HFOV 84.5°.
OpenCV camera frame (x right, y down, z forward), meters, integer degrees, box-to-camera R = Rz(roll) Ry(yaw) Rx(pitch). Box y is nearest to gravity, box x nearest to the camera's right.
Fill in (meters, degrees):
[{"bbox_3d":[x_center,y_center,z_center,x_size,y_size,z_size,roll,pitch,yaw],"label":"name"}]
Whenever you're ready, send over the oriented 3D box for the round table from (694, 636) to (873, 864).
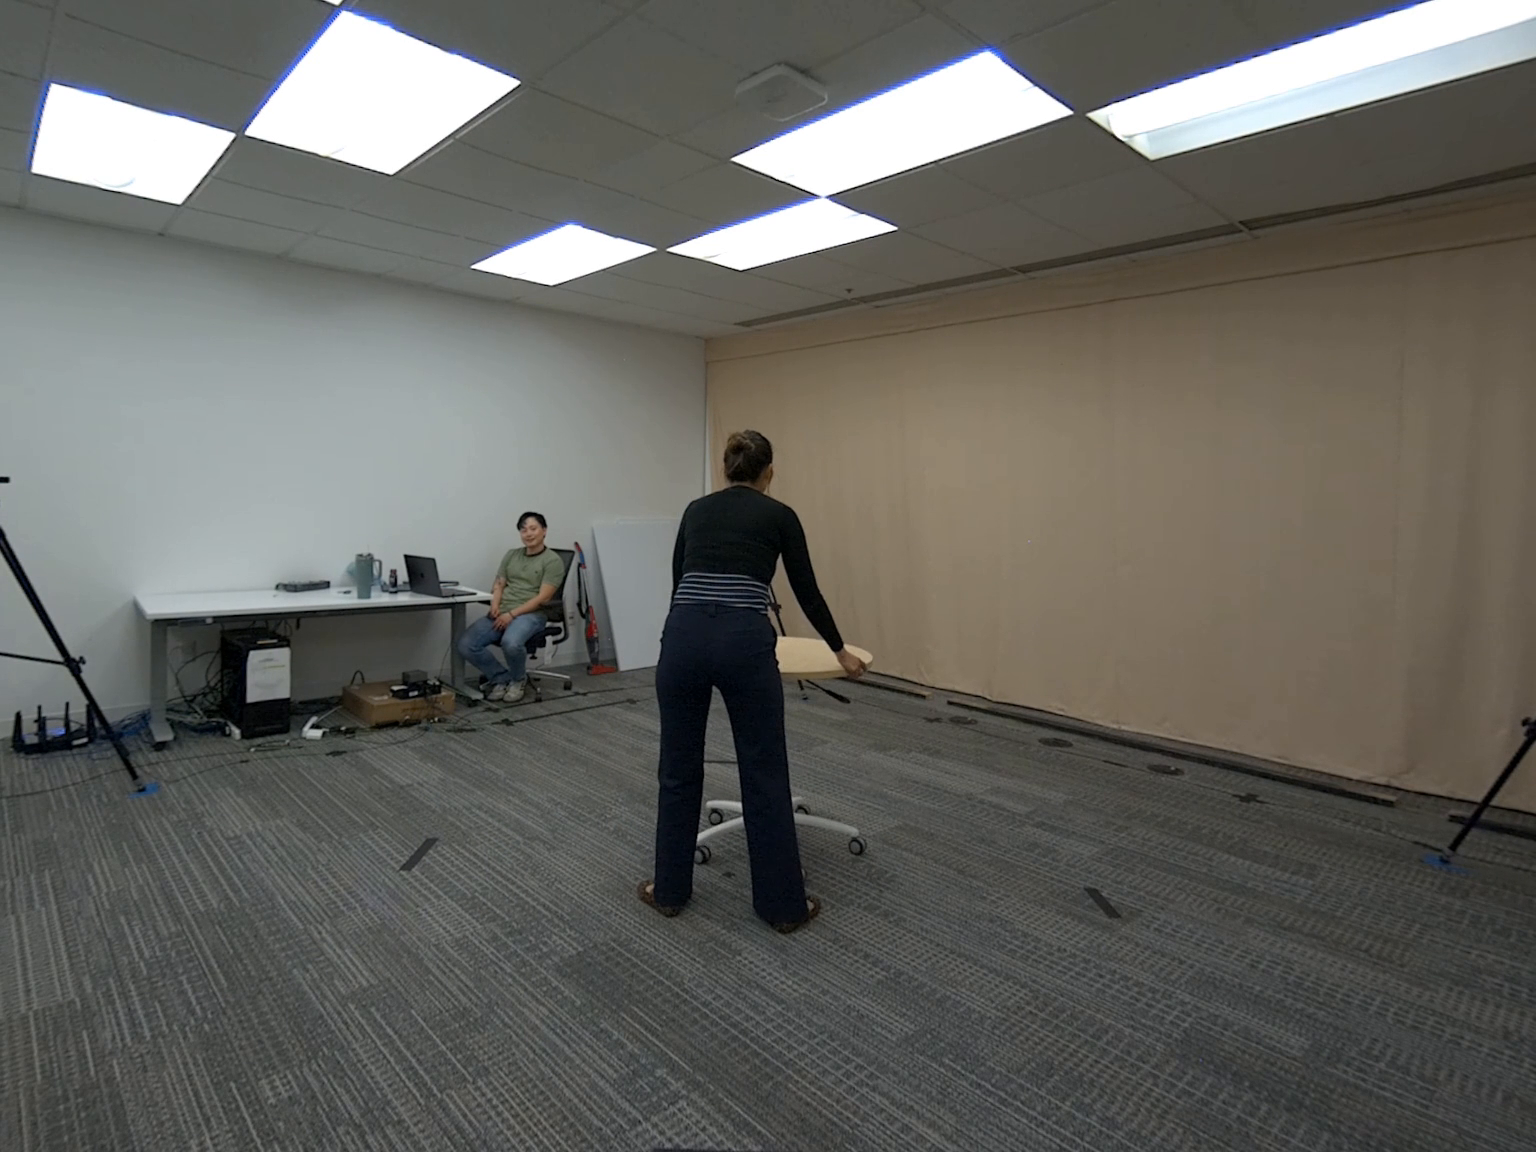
[{"bbox_3d":[0.011,0.696,3.353,0.763,0.792,0.766,2,4,-1],"label":"round table"}]
